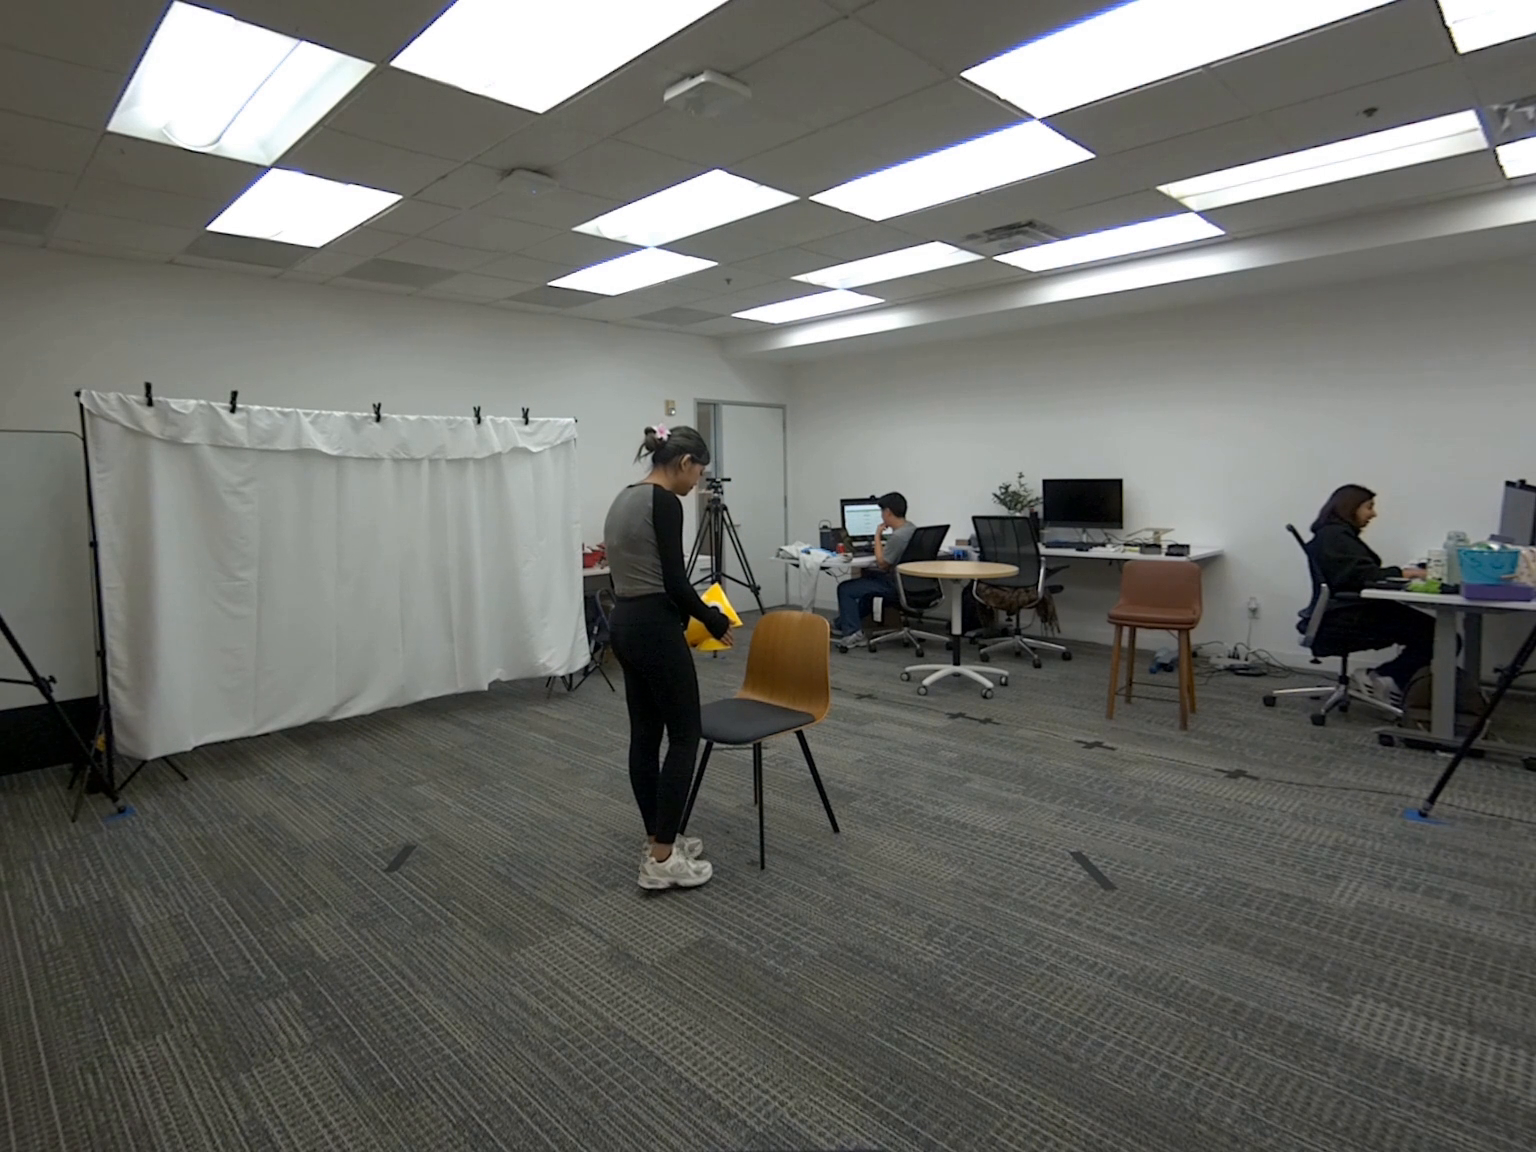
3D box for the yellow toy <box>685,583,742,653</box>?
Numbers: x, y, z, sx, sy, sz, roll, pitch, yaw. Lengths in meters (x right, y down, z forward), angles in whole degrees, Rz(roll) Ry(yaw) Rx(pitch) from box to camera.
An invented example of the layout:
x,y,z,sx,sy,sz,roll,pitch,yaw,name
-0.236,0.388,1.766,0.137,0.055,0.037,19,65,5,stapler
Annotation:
x,y,z,sx,sy,sz,roll,pitch,yaw,name
-0.227,0.147,3.140,0.188,0.230,0.211,-2,2,-42,yellow toy
